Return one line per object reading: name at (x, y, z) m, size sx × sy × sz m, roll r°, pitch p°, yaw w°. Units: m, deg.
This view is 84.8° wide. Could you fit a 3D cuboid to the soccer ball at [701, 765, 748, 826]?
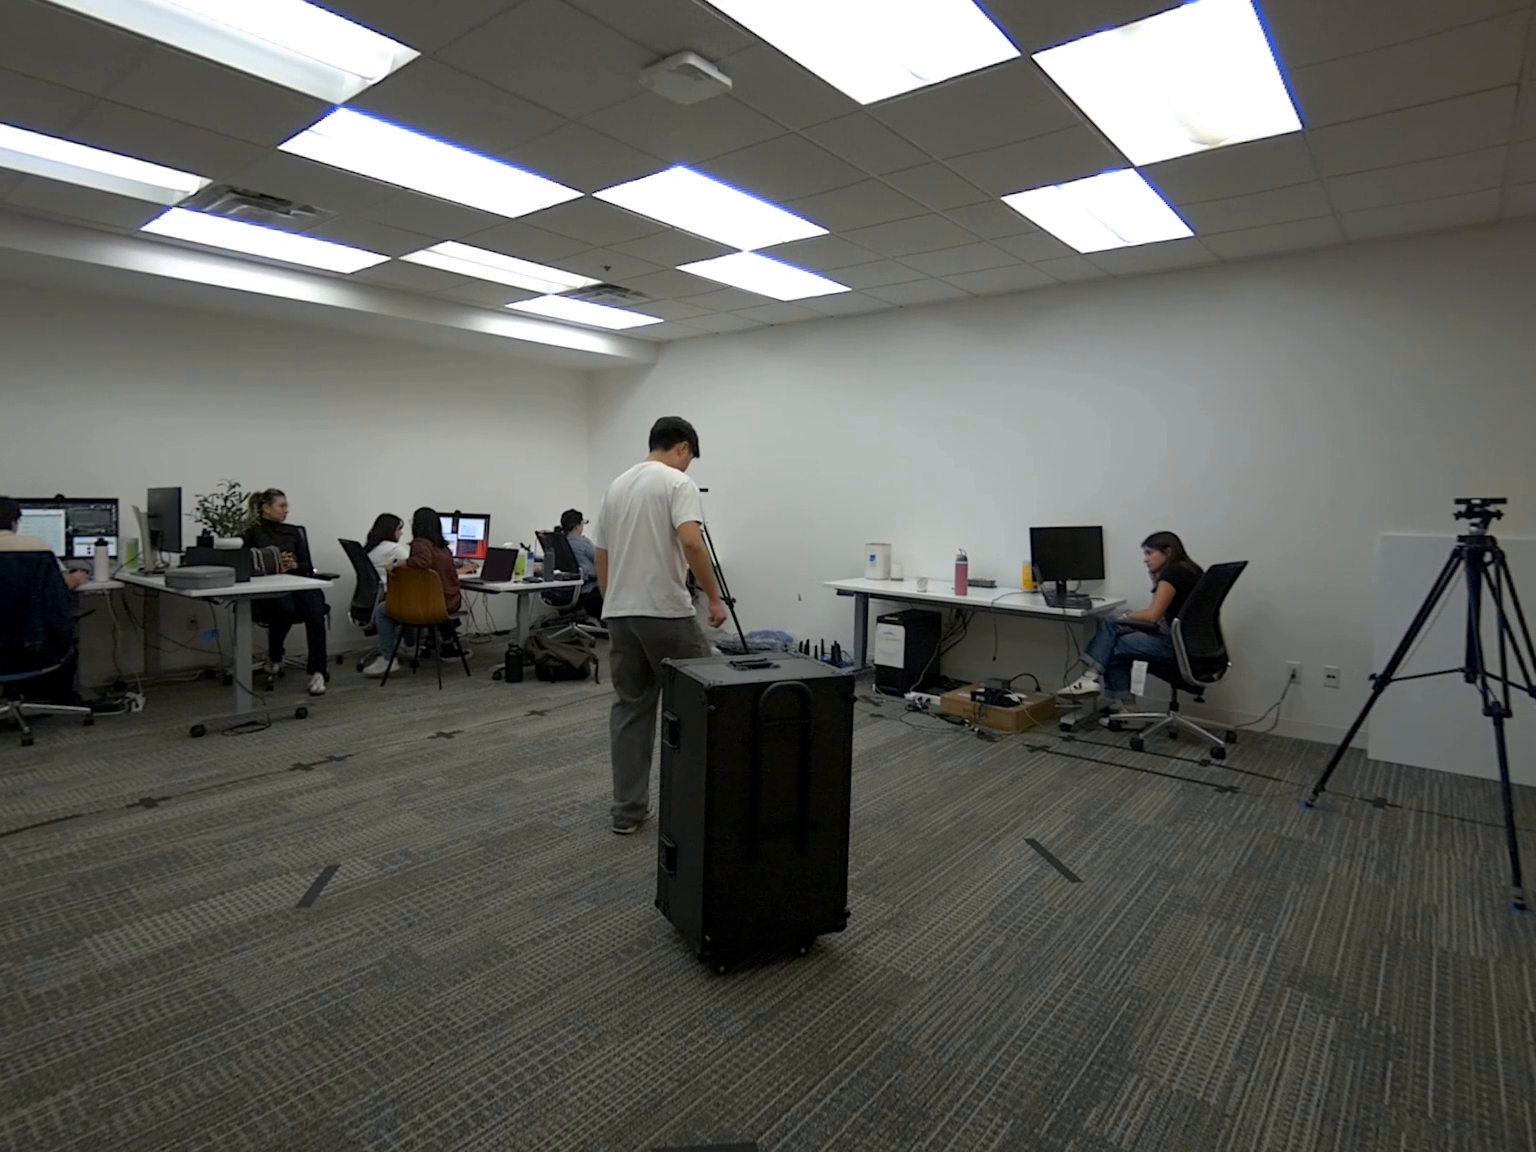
soccer ball at (-0.189, 0.925, 3.559) m, size 0.187 × 0.187 × 0.188 m, roll 1°, pitch 4°, yaw -2°
